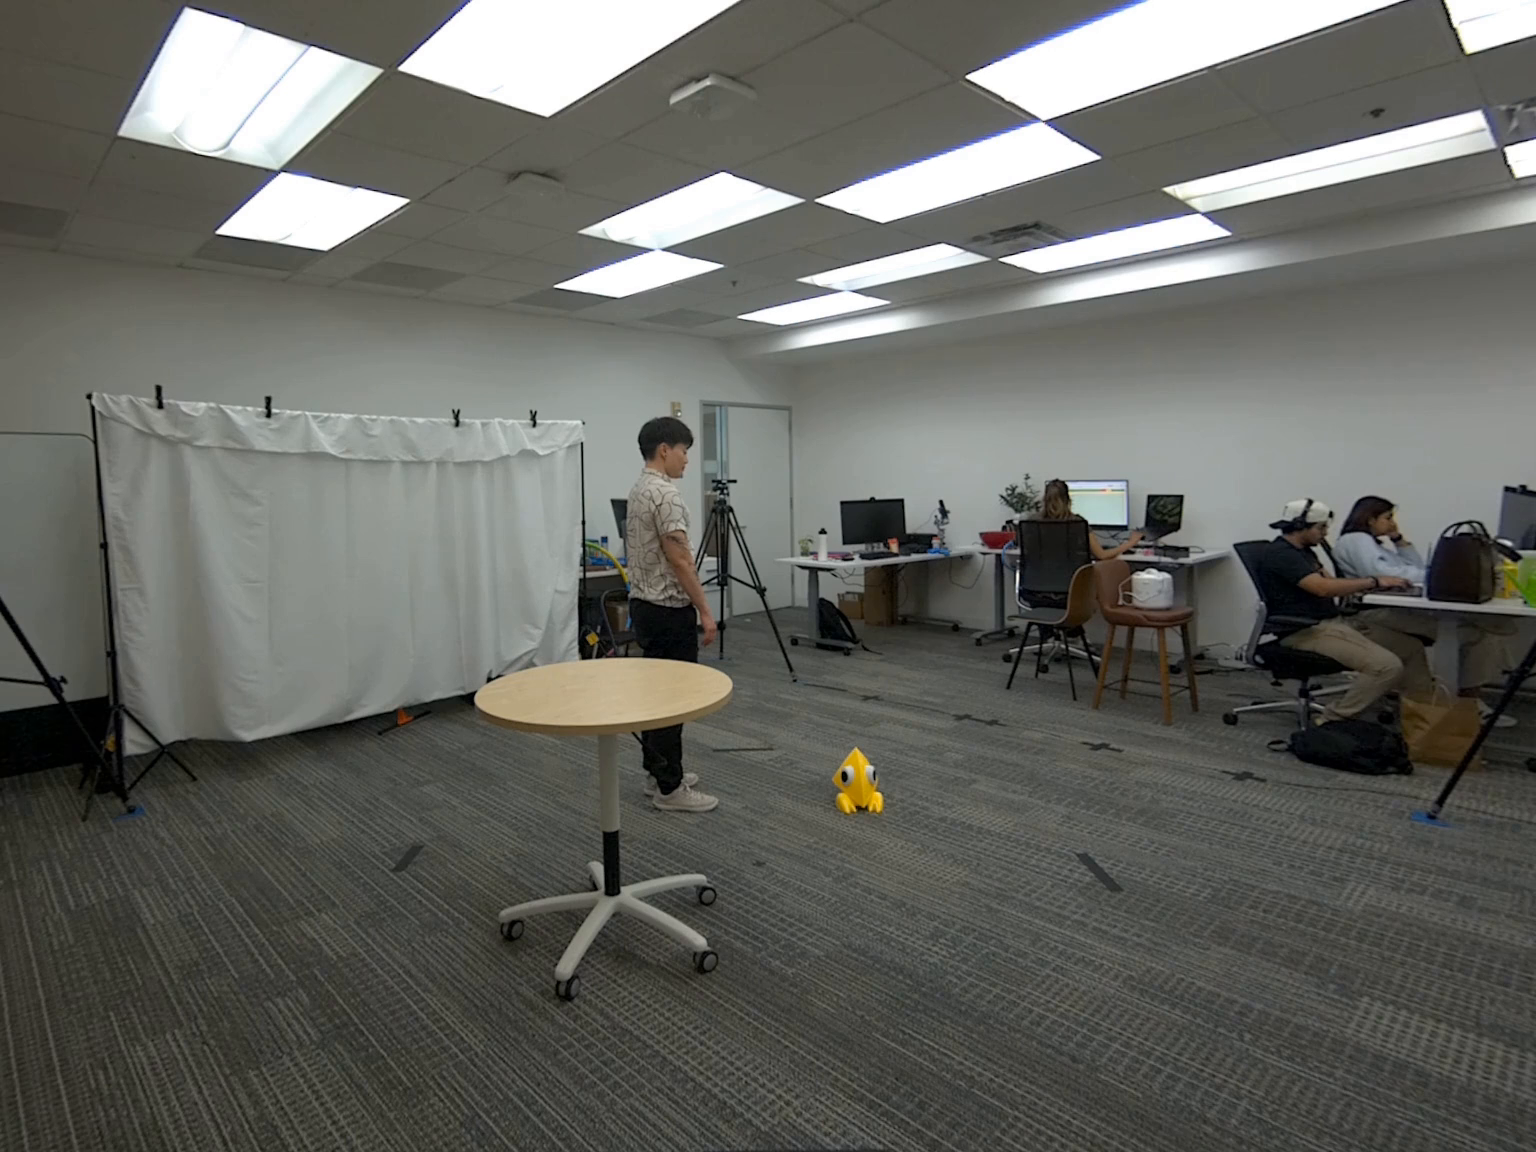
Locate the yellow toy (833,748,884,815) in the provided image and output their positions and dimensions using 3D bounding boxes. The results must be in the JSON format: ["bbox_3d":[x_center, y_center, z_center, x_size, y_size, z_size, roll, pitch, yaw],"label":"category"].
[{"bbox_3d":[0.398,0.872,3.650,0.204,0.230,0.194,0,3,-2],"label":"yellow toy"}]
